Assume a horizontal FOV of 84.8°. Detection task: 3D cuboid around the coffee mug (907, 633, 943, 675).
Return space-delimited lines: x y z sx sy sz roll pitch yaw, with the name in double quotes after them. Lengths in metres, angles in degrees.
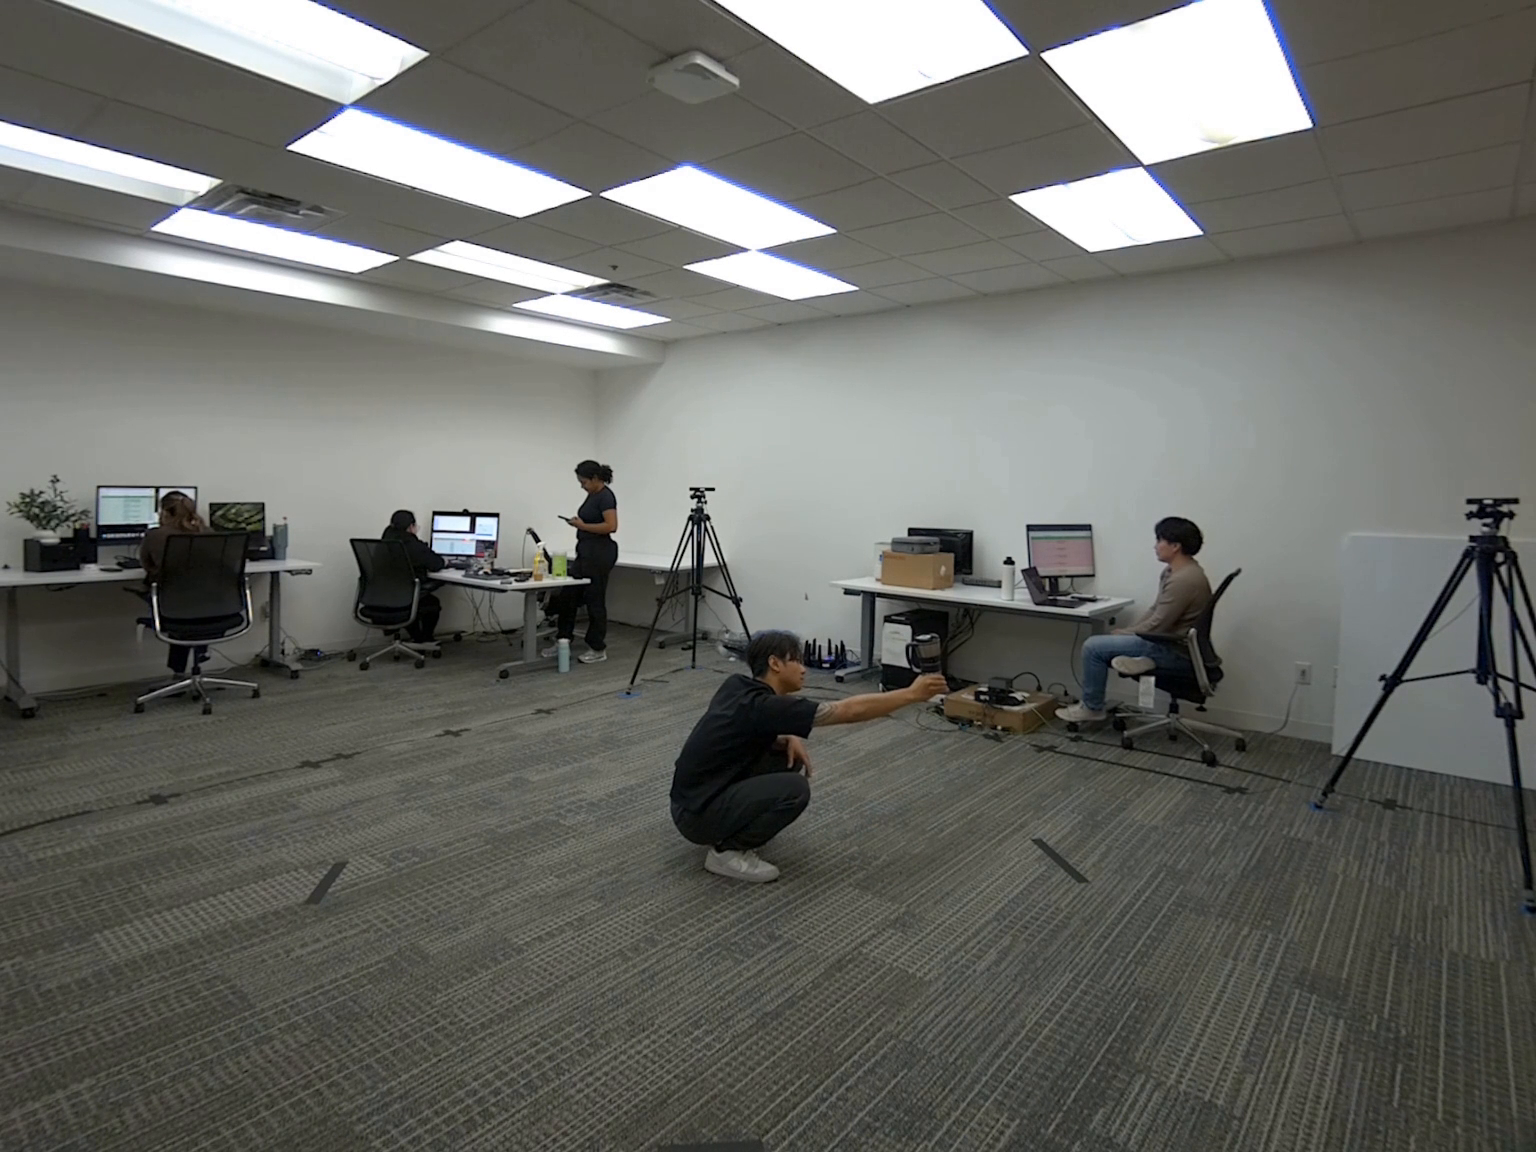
0.577 0.315 3.119 0.125 0.201 0.086 -5 10 36 "coffee mug"
